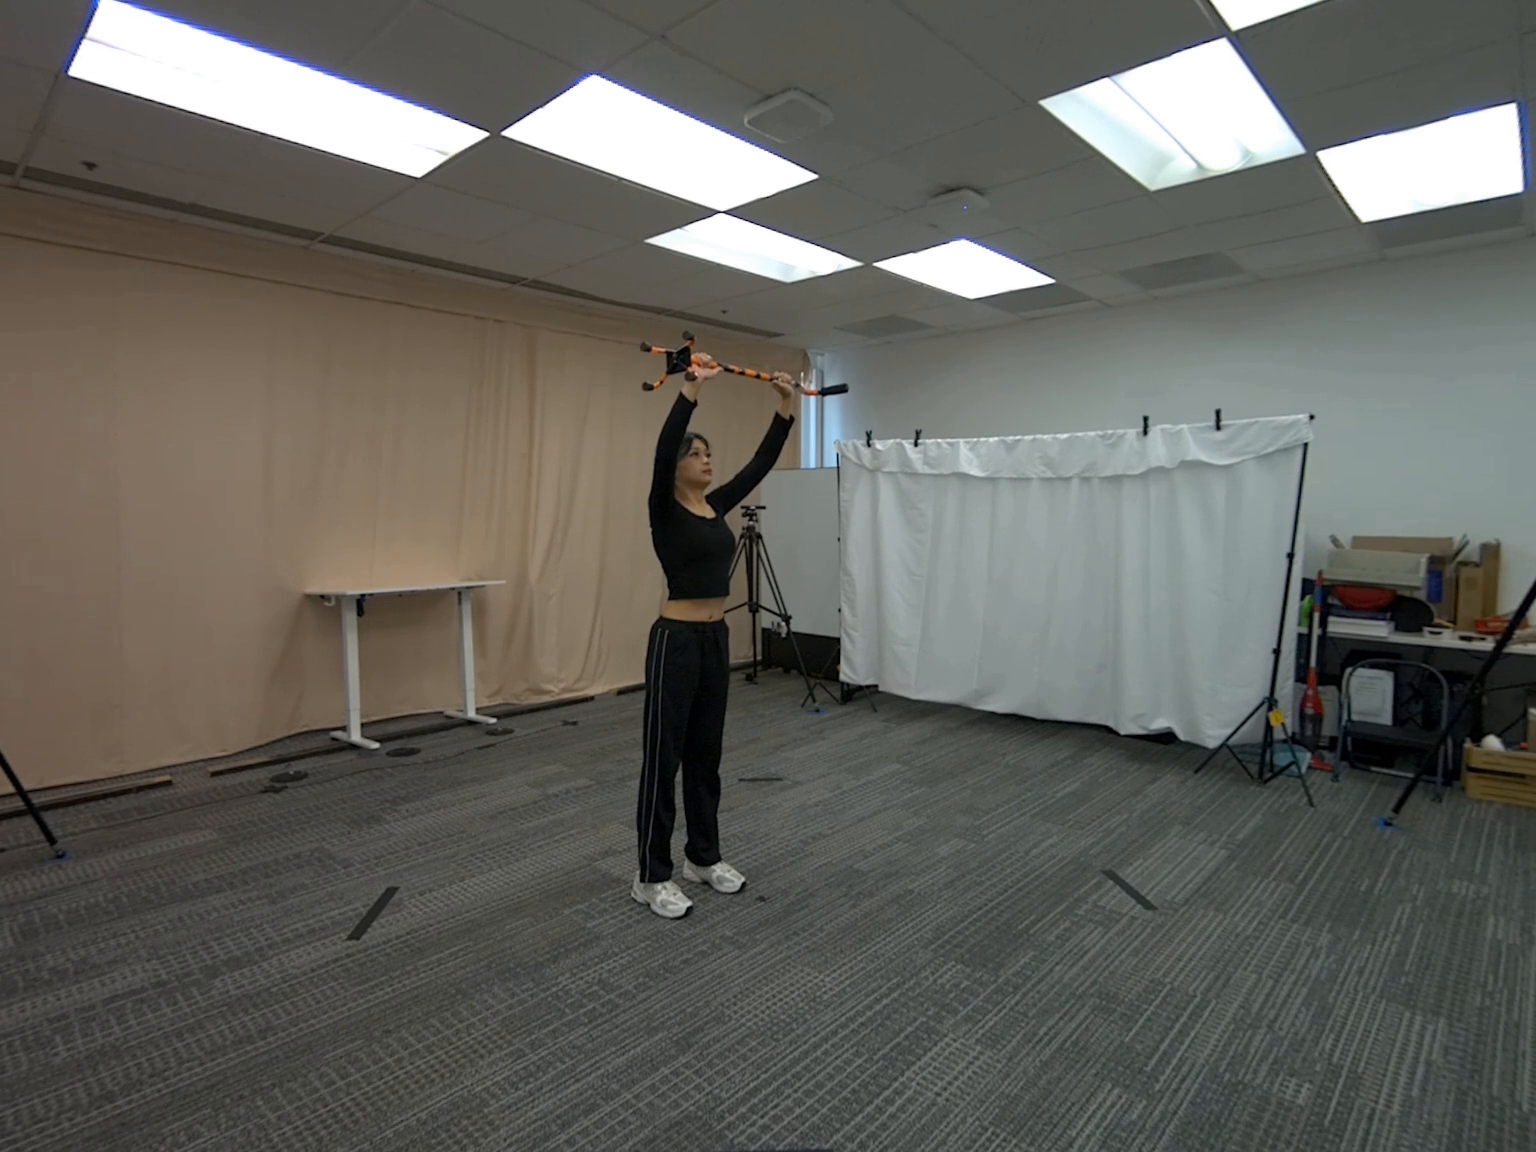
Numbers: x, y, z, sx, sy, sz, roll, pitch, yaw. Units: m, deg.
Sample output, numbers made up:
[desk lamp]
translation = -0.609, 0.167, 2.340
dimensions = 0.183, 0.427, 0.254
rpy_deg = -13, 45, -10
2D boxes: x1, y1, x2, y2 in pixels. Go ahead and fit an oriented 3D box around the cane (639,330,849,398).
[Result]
[cane]
translation = -0.038, -0.673, 2.888
dimensions = 0.213, 0.151, 0.881
rpy_deg = -3, 2, 39
